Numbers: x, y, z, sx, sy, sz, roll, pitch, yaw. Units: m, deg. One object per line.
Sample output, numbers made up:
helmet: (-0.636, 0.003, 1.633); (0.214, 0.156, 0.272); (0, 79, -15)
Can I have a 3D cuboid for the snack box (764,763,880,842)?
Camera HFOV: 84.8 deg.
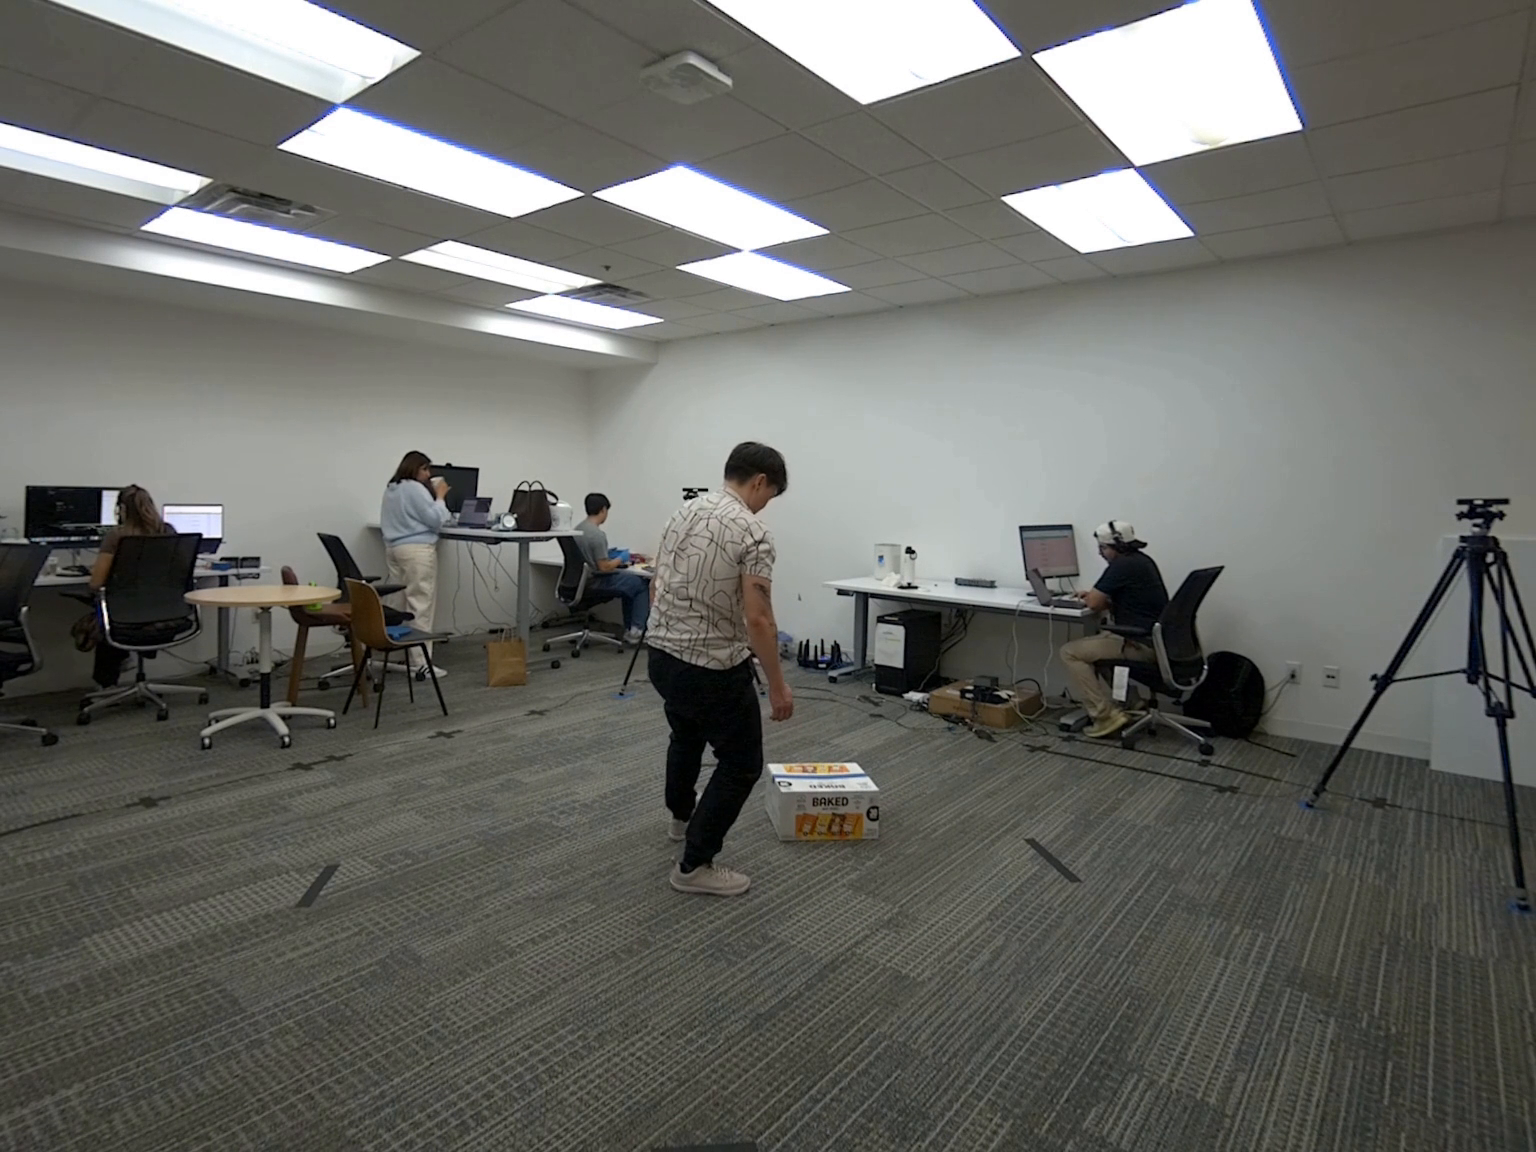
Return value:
snack box: (0.213, 0.934, 3.551); (0.402, 0.205, 0.344); (1, 5, -8)
